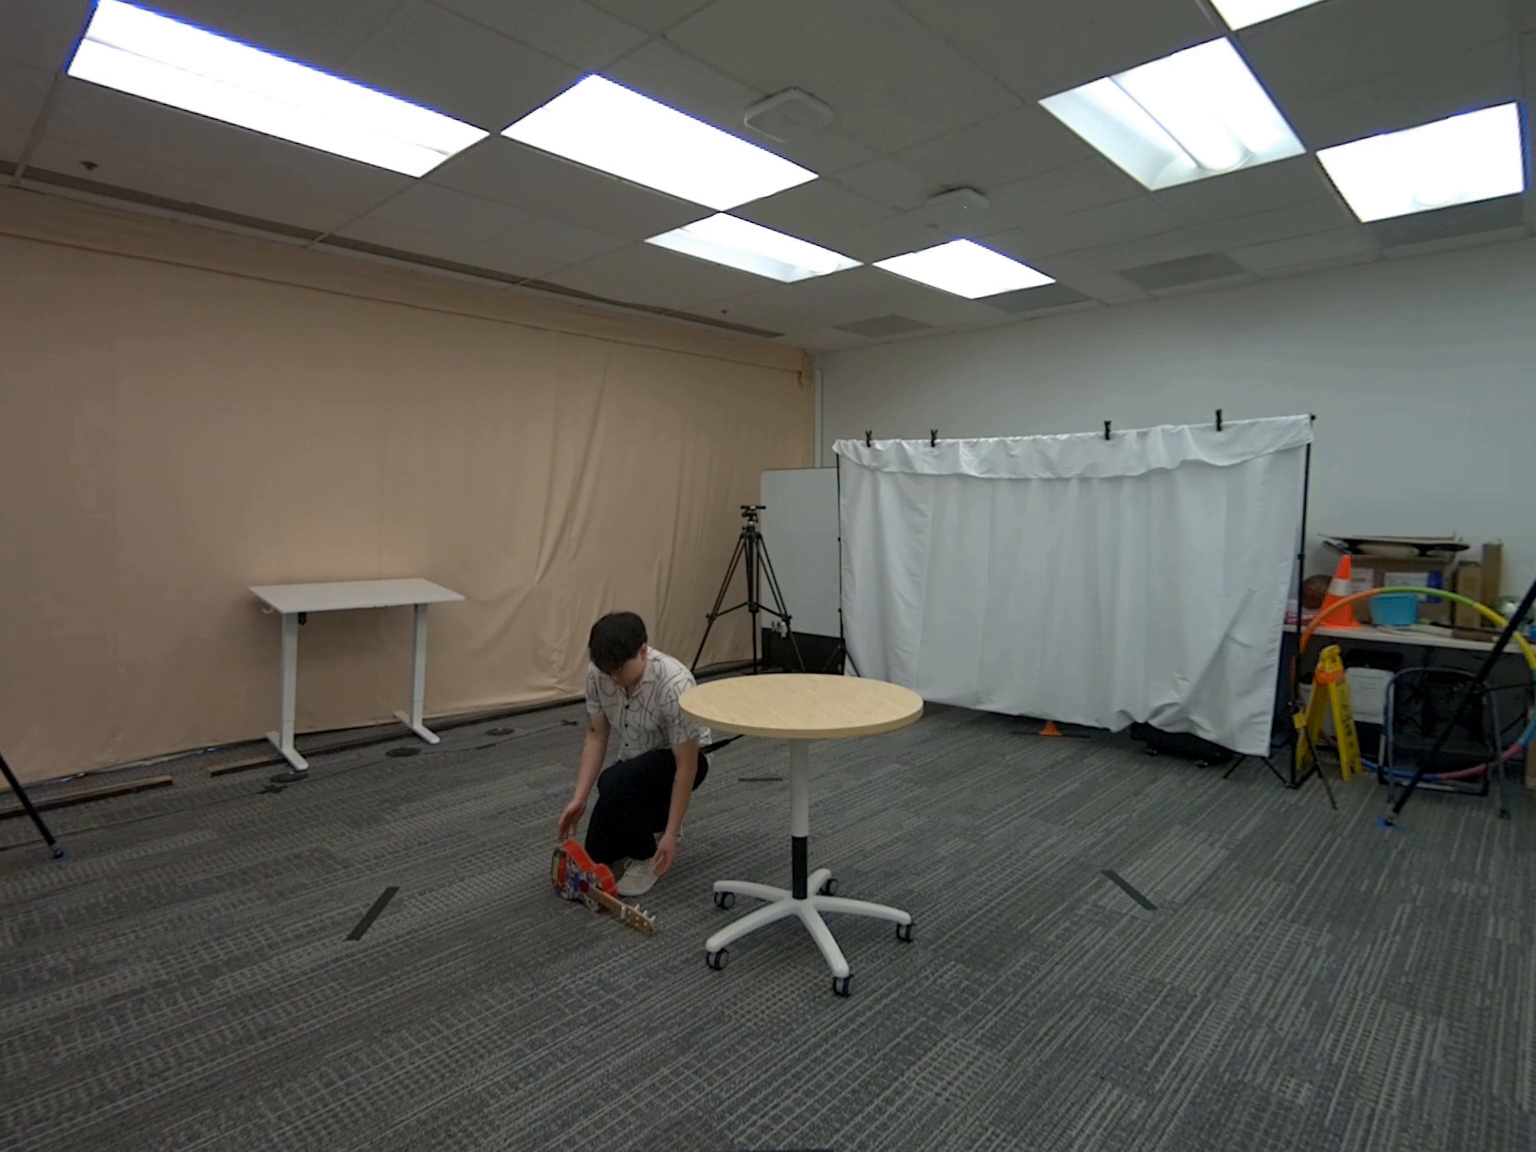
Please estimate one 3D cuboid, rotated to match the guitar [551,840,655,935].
[{"bbox_3d":[-0.566,1.111,2.904,0.515,0.192,0.069,23,19,34],"label":"guitar"}]
